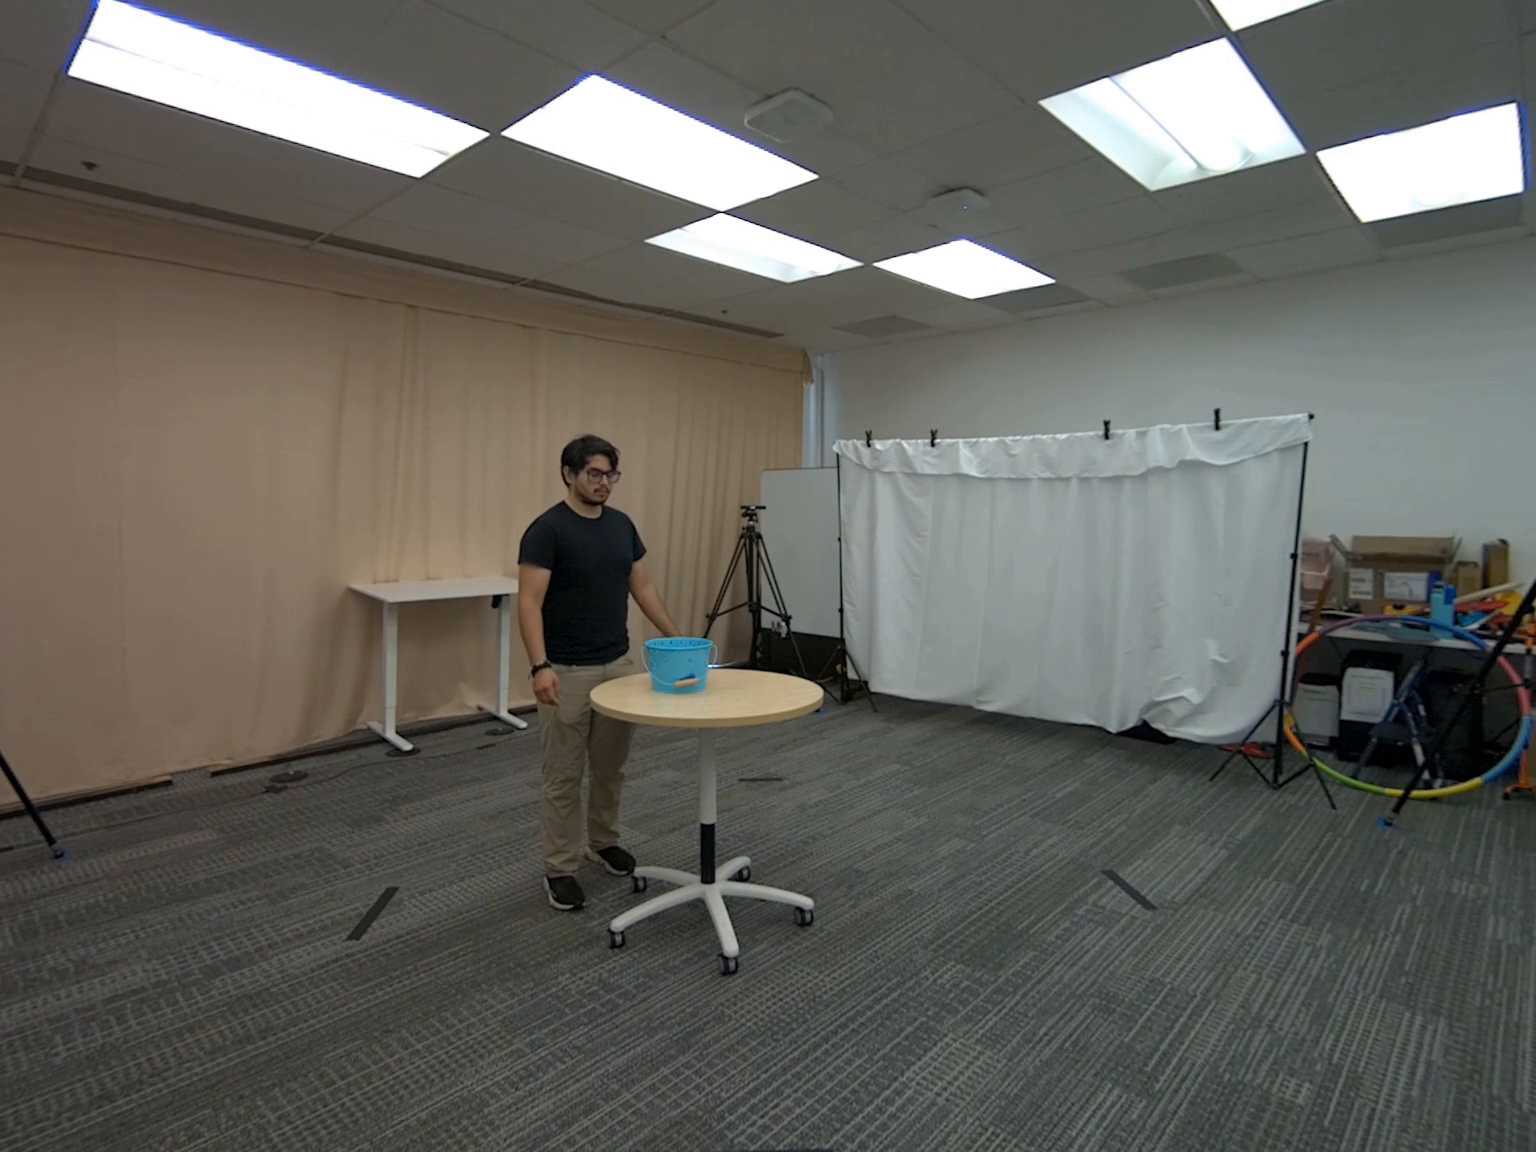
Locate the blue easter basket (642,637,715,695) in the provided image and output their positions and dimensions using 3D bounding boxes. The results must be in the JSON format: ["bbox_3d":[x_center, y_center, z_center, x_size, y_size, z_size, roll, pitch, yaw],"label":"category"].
[{"bbox_3d":[-0.301,0.302,2.815,0.243,0.155,0.244,-1,4,-2],"label":"blue easter basket"}]
